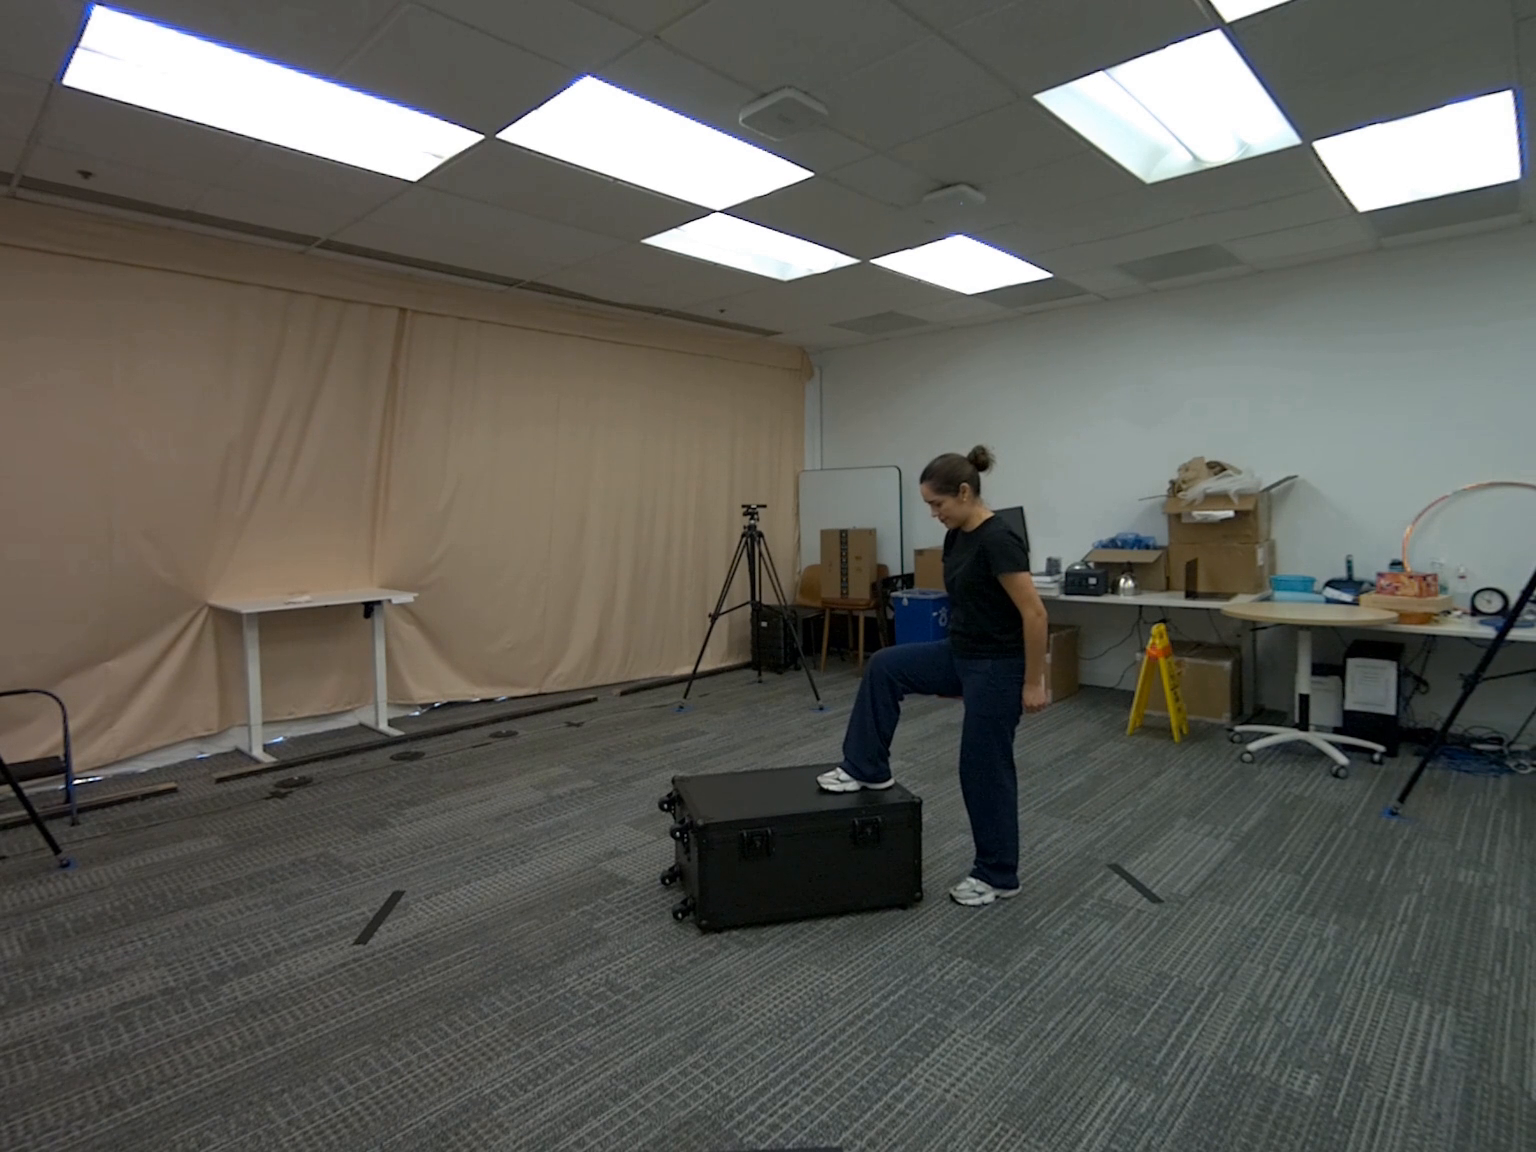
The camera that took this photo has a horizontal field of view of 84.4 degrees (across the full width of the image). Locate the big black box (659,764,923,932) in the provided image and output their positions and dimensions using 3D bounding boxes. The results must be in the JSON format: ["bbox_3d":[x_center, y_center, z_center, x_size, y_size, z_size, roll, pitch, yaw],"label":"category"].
[{"bbox_3d":[0.069,0.940,3.017,0.849,0.395,0.530,-2,4,-14],"label":"big black box"}]
